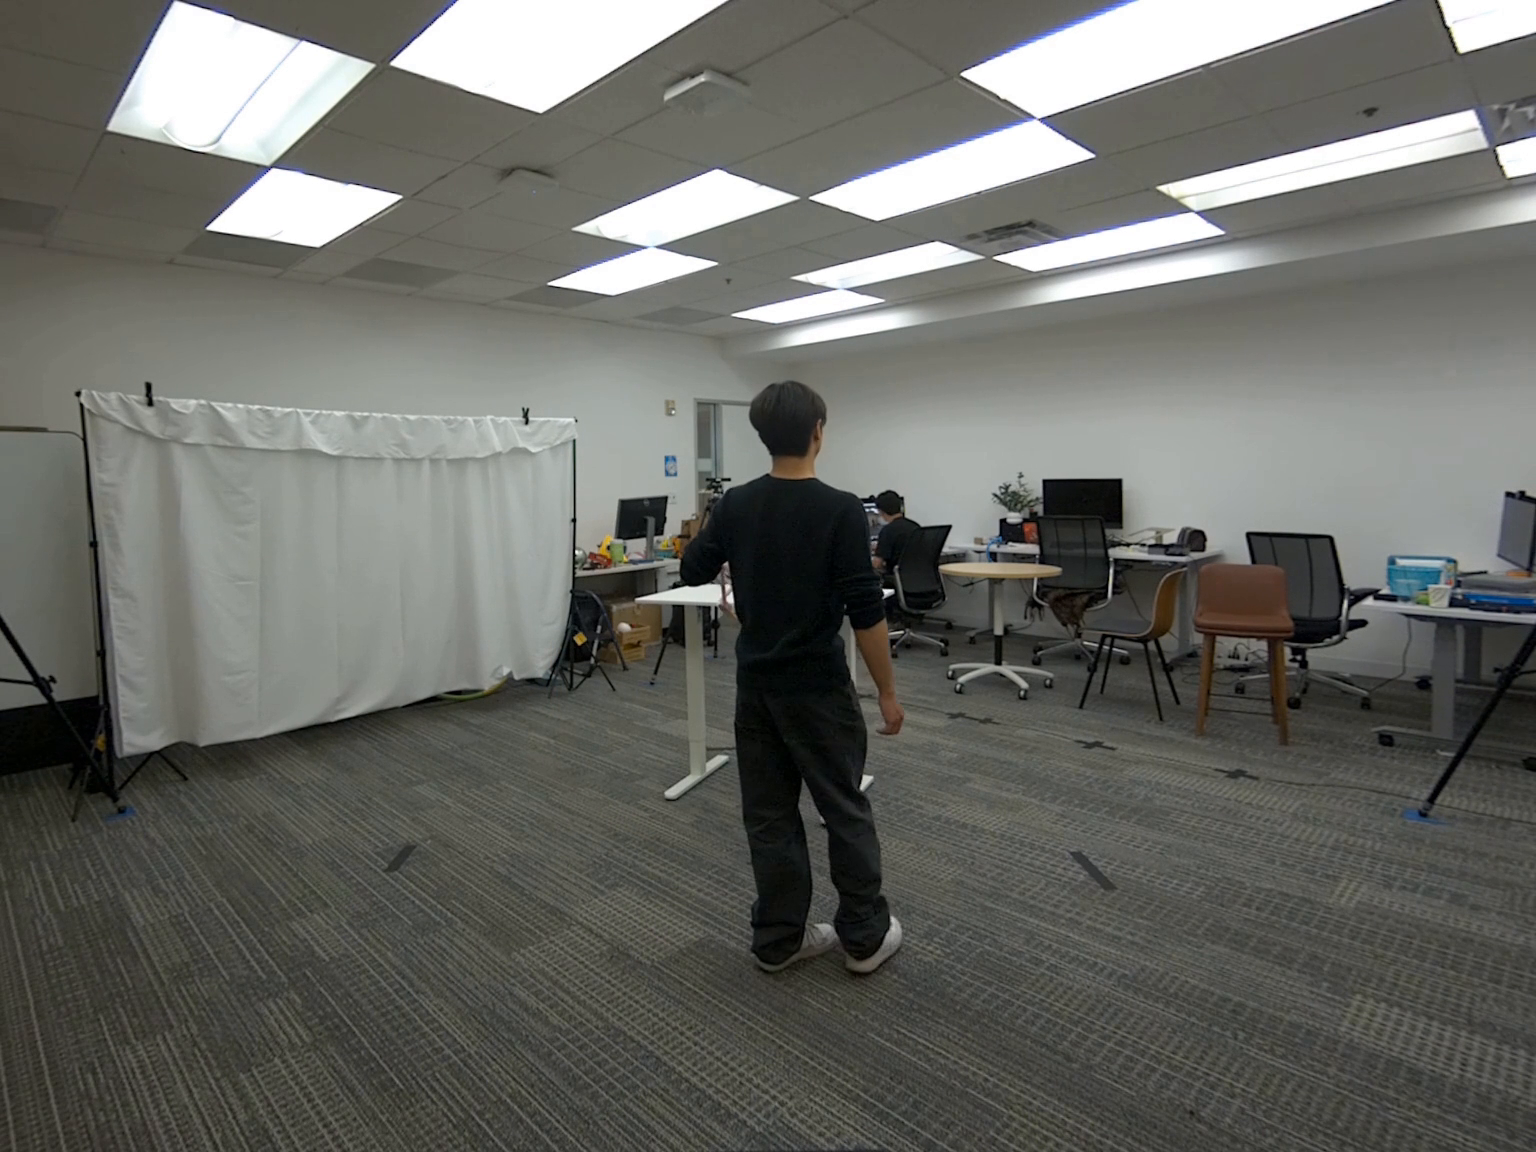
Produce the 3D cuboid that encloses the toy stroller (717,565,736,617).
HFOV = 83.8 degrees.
[{"bbox_3d":[-0.050,0.035,3.025,0.281,0.523,0.349,-46,19,-24],"label":"toy stroller"}]
